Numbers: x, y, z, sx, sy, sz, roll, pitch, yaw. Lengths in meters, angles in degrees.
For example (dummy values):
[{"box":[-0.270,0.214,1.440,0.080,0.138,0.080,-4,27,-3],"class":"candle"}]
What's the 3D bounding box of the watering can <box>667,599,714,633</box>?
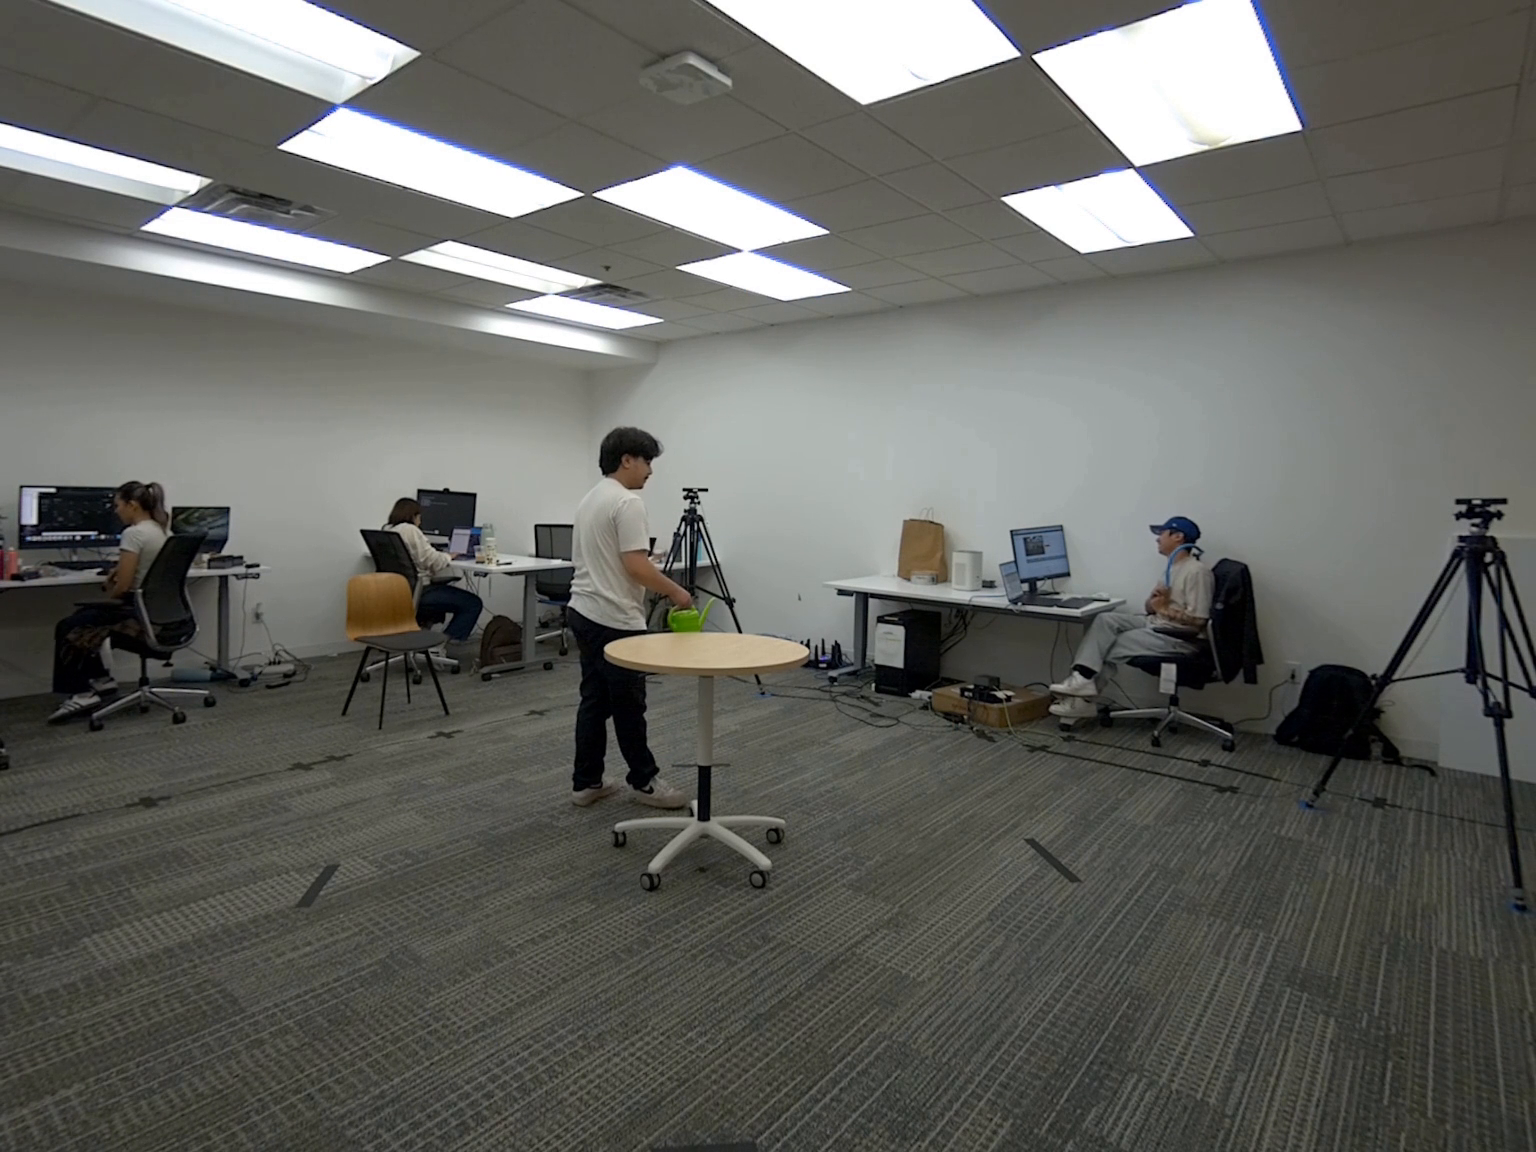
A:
[{"box":[-0.351,0.205,3.846,0.272,0.176,0.101,-7,6,-25],"class":"watering can"}]
